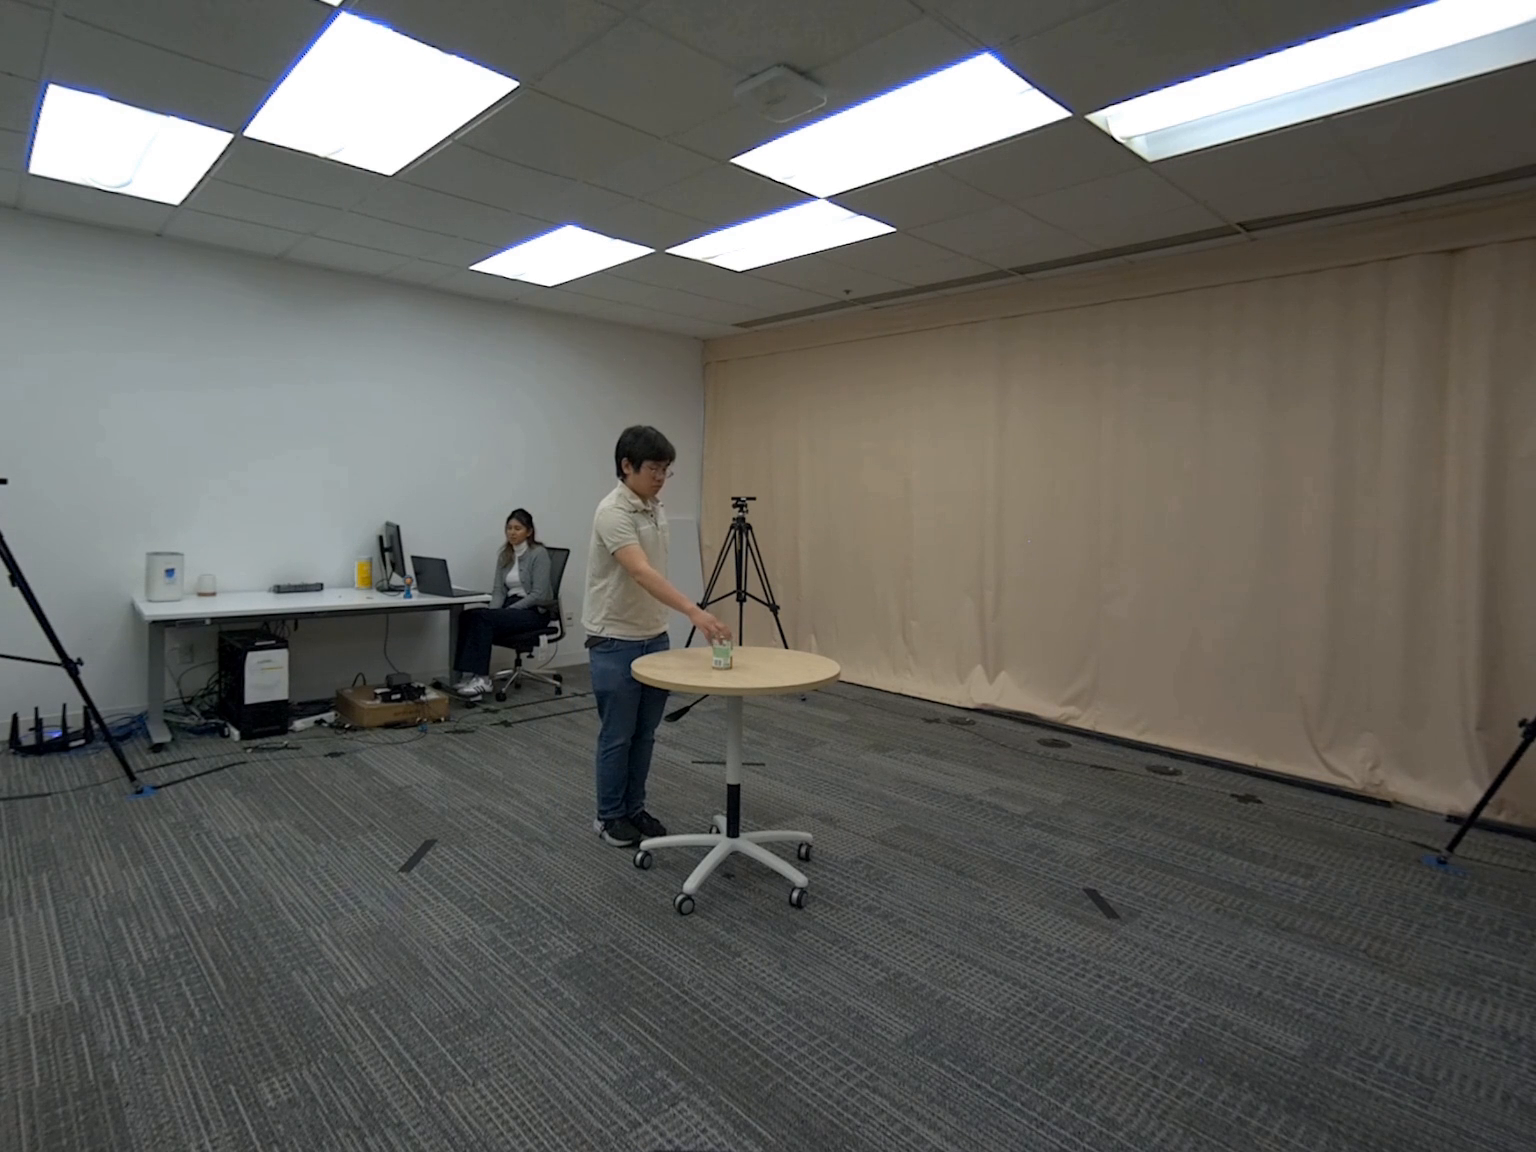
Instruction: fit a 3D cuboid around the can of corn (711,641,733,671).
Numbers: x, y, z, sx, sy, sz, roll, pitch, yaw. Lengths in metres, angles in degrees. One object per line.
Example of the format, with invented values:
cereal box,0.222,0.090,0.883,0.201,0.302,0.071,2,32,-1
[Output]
can of corn,-0.175,0.278,3.021,0.074,0.111,0.074,-1,5,-1
